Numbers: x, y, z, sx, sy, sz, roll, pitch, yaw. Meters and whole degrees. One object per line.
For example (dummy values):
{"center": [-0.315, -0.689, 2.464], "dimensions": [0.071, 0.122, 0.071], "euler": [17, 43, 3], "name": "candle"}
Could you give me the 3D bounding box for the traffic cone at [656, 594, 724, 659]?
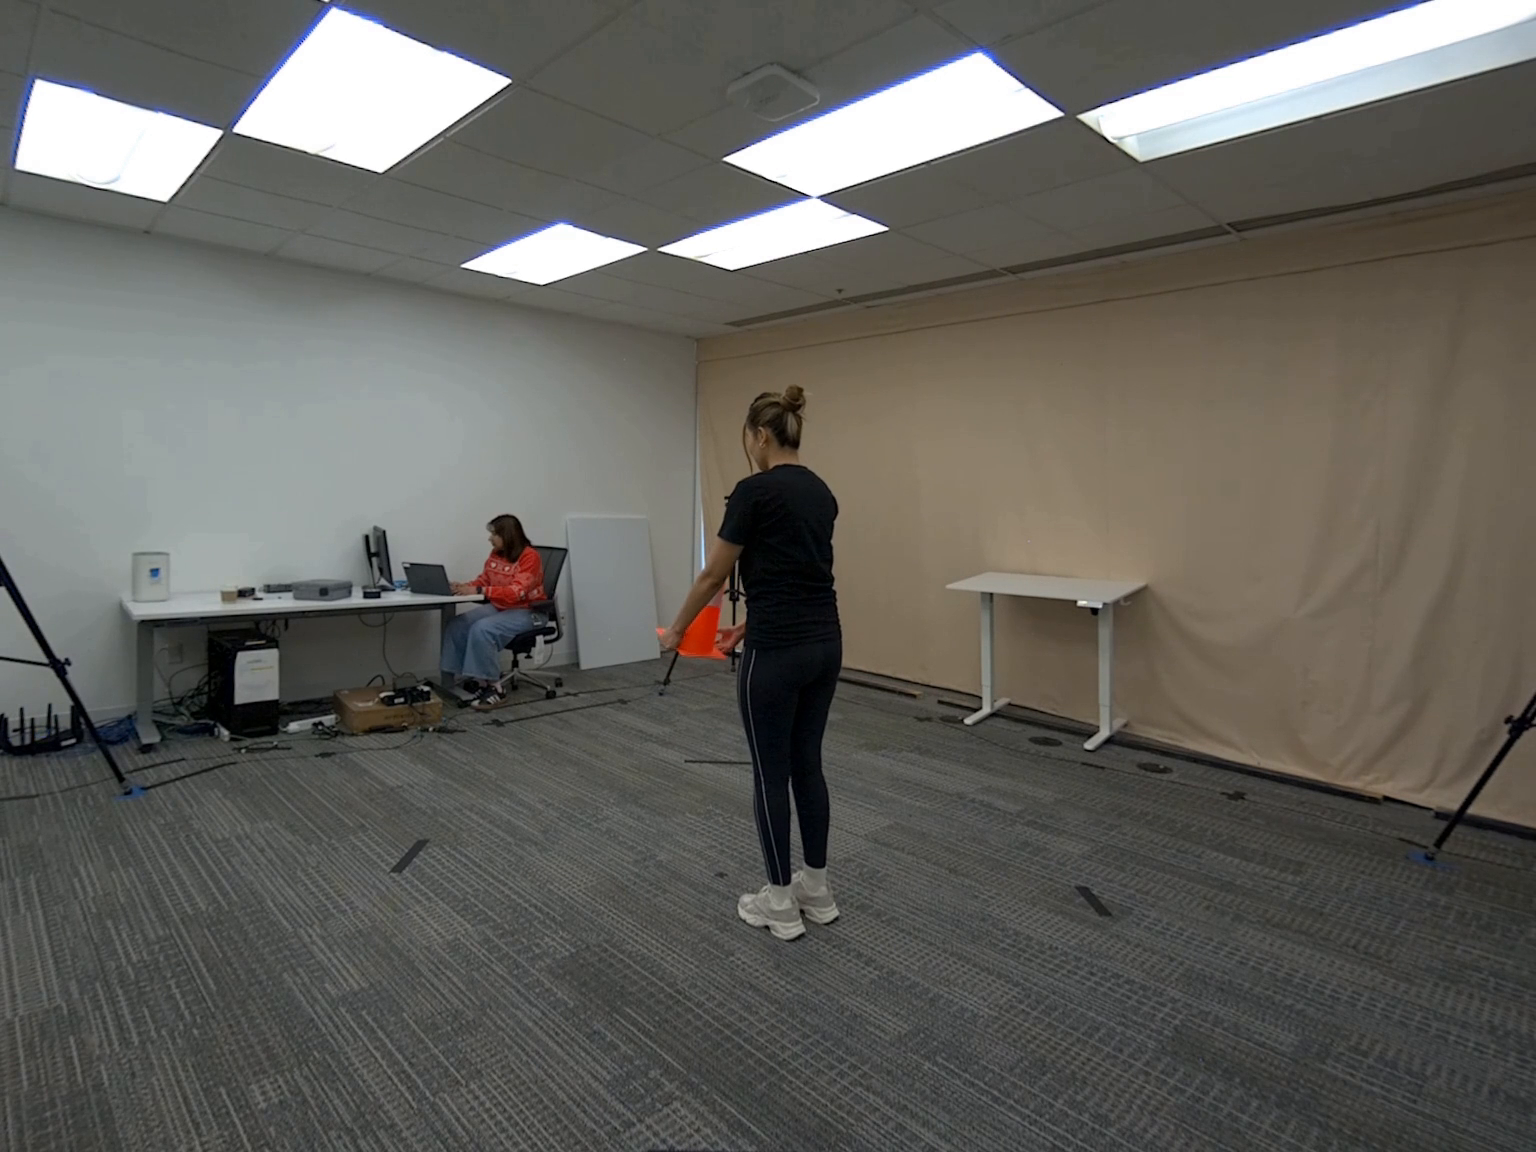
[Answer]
{"center": [-0.189, 0.065, 2.888], "dimensions": [0.199, 0.382, 0.209], "euler": [18, 8, -21], "name": "traffic cone"}
